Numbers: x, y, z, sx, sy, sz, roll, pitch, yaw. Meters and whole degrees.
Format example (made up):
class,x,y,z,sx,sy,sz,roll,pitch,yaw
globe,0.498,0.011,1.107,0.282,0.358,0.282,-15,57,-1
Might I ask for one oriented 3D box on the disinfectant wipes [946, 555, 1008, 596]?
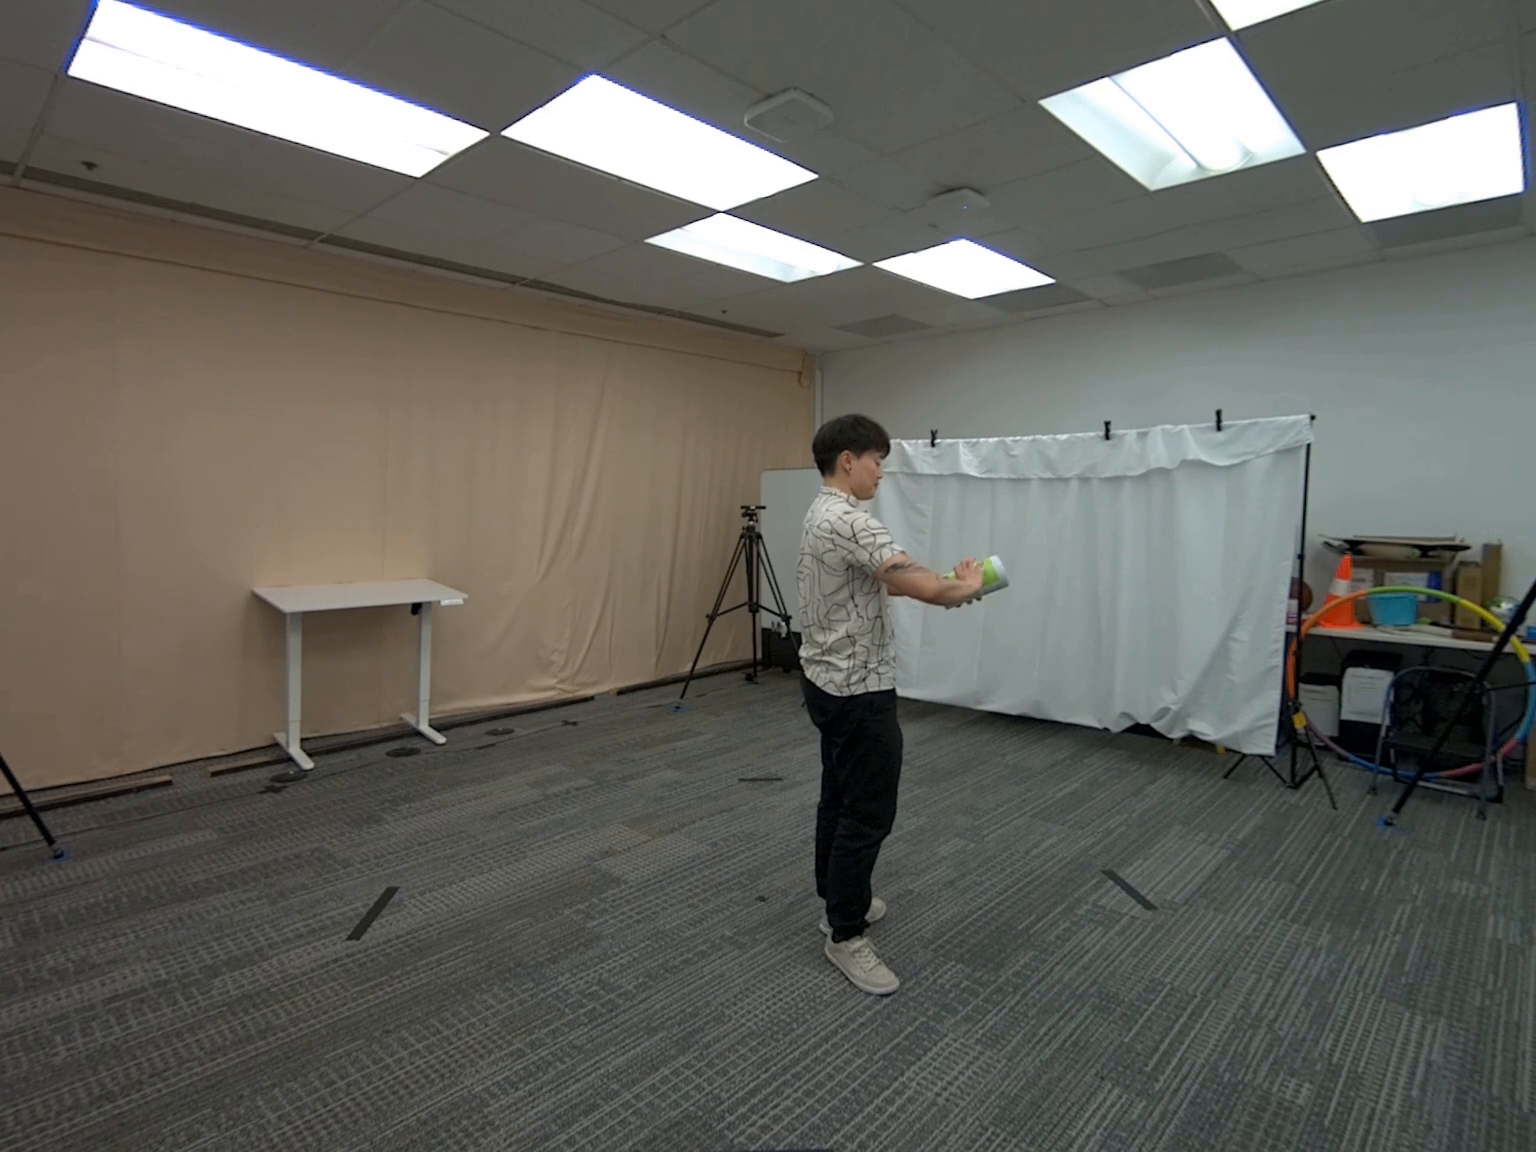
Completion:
class,x,y,z,sx,sy,sz,roll,pitch,yaw
disinfectant wipes,0.662,0.017,2.693,0.219,0.118,0.117,-18,1,9
